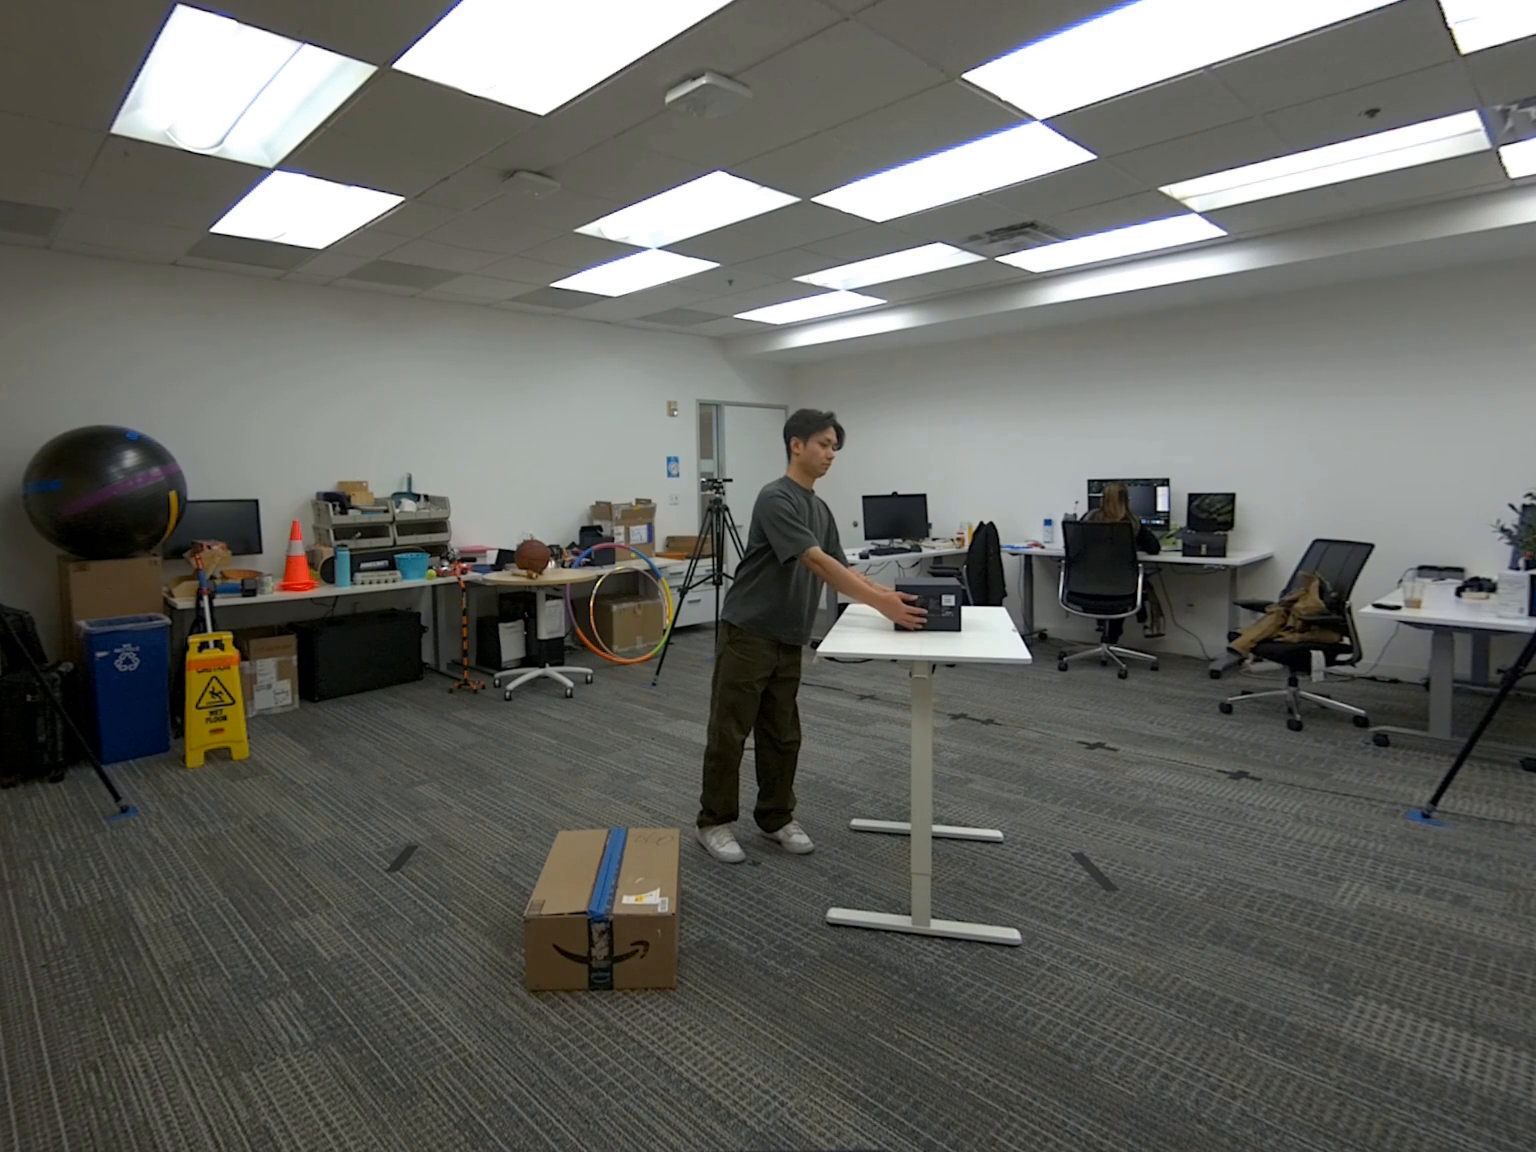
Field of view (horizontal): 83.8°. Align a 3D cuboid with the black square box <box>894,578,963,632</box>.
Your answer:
[{"bbox_3d":[0.549,0.089,2.926,0.219,0.155,0.226,0,5,10],"label":"black square box"}]
